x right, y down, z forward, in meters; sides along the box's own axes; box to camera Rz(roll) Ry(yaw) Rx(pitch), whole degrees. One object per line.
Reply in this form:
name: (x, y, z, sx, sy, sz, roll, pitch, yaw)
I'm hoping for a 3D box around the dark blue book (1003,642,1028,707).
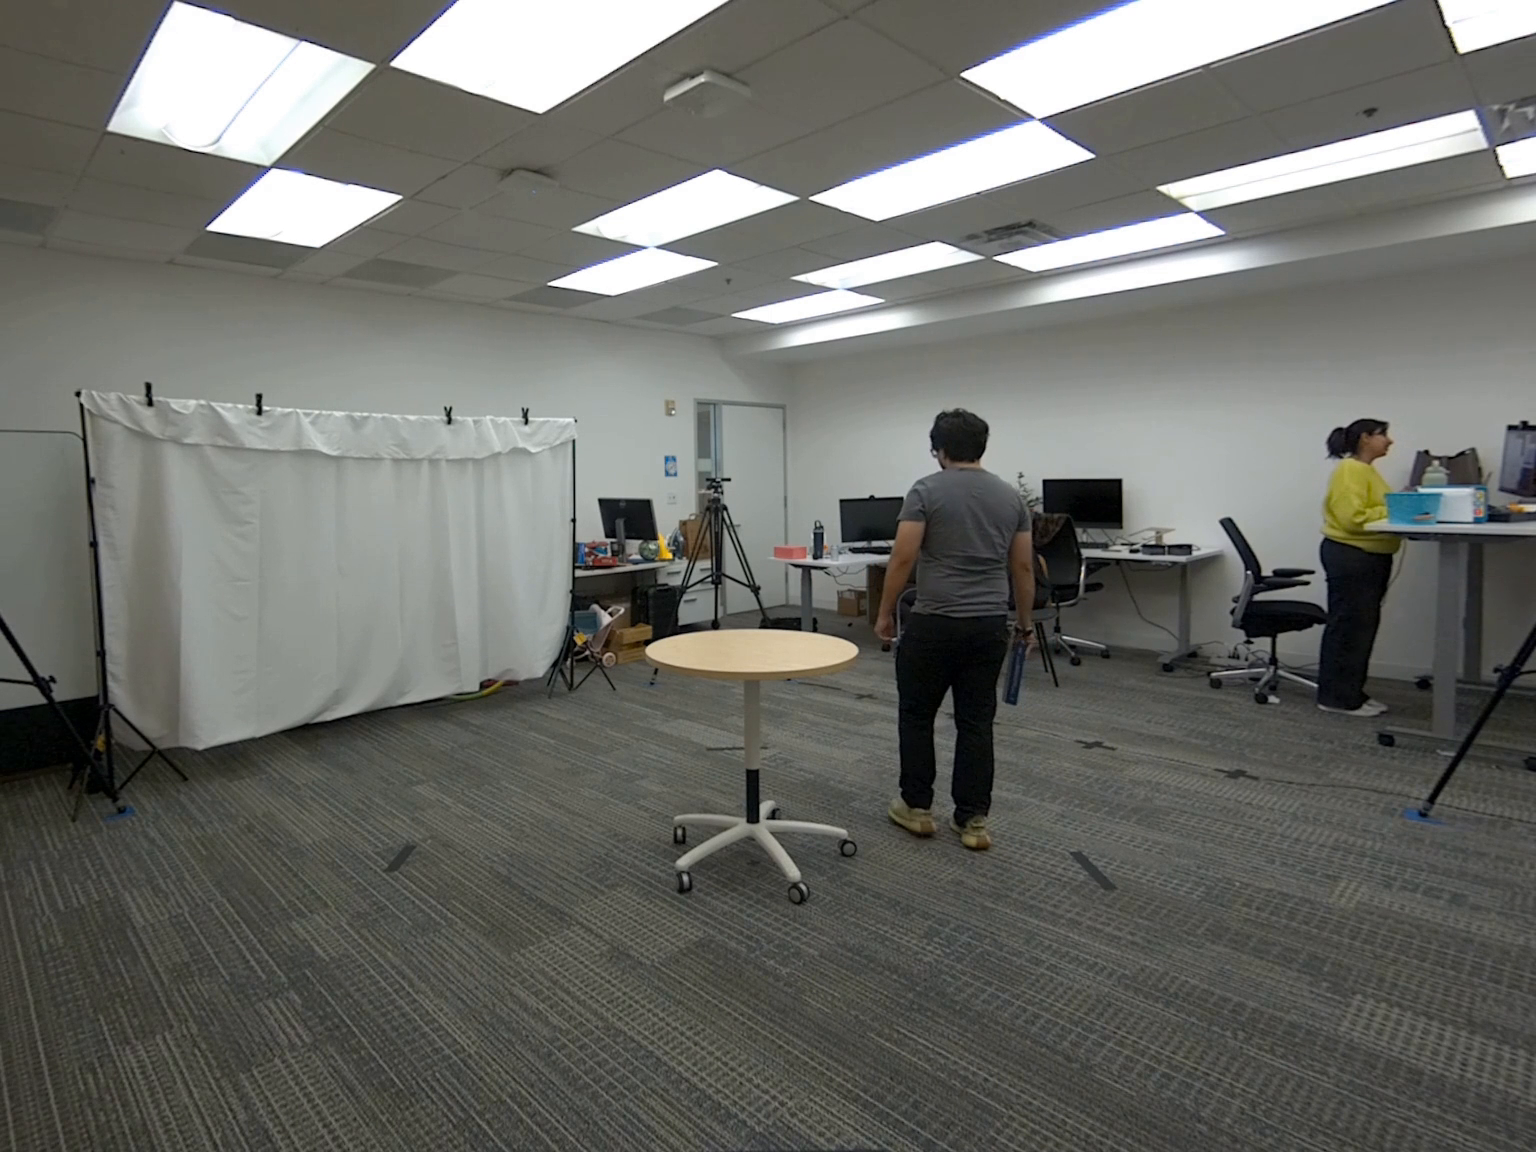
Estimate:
dark blue book: (0.989, 0.389, 3.432, 0.046, 0.246, 0.160, 10, -4, 13)
